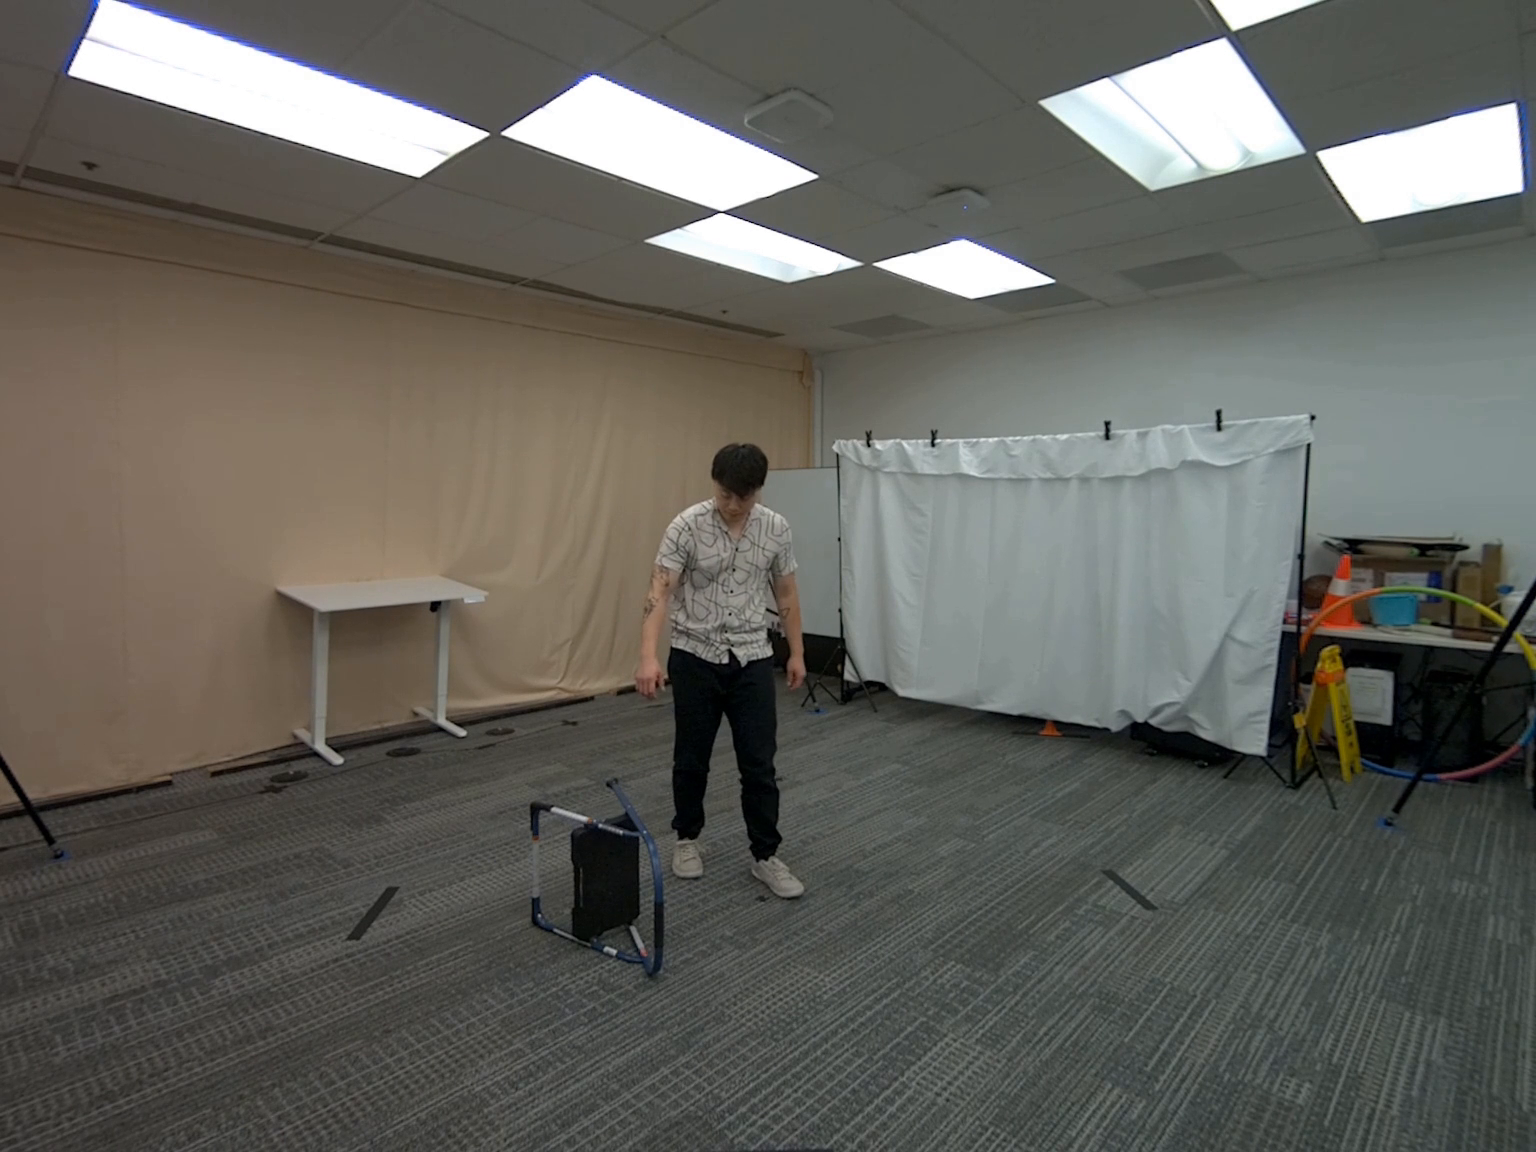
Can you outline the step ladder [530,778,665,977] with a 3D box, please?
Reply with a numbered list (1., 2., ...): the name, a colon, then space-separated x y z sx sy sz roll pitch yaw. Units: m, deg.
1. step ladder: -0.459 0.964 2.675 0.339 0.429 0.626 -5 6 -42
